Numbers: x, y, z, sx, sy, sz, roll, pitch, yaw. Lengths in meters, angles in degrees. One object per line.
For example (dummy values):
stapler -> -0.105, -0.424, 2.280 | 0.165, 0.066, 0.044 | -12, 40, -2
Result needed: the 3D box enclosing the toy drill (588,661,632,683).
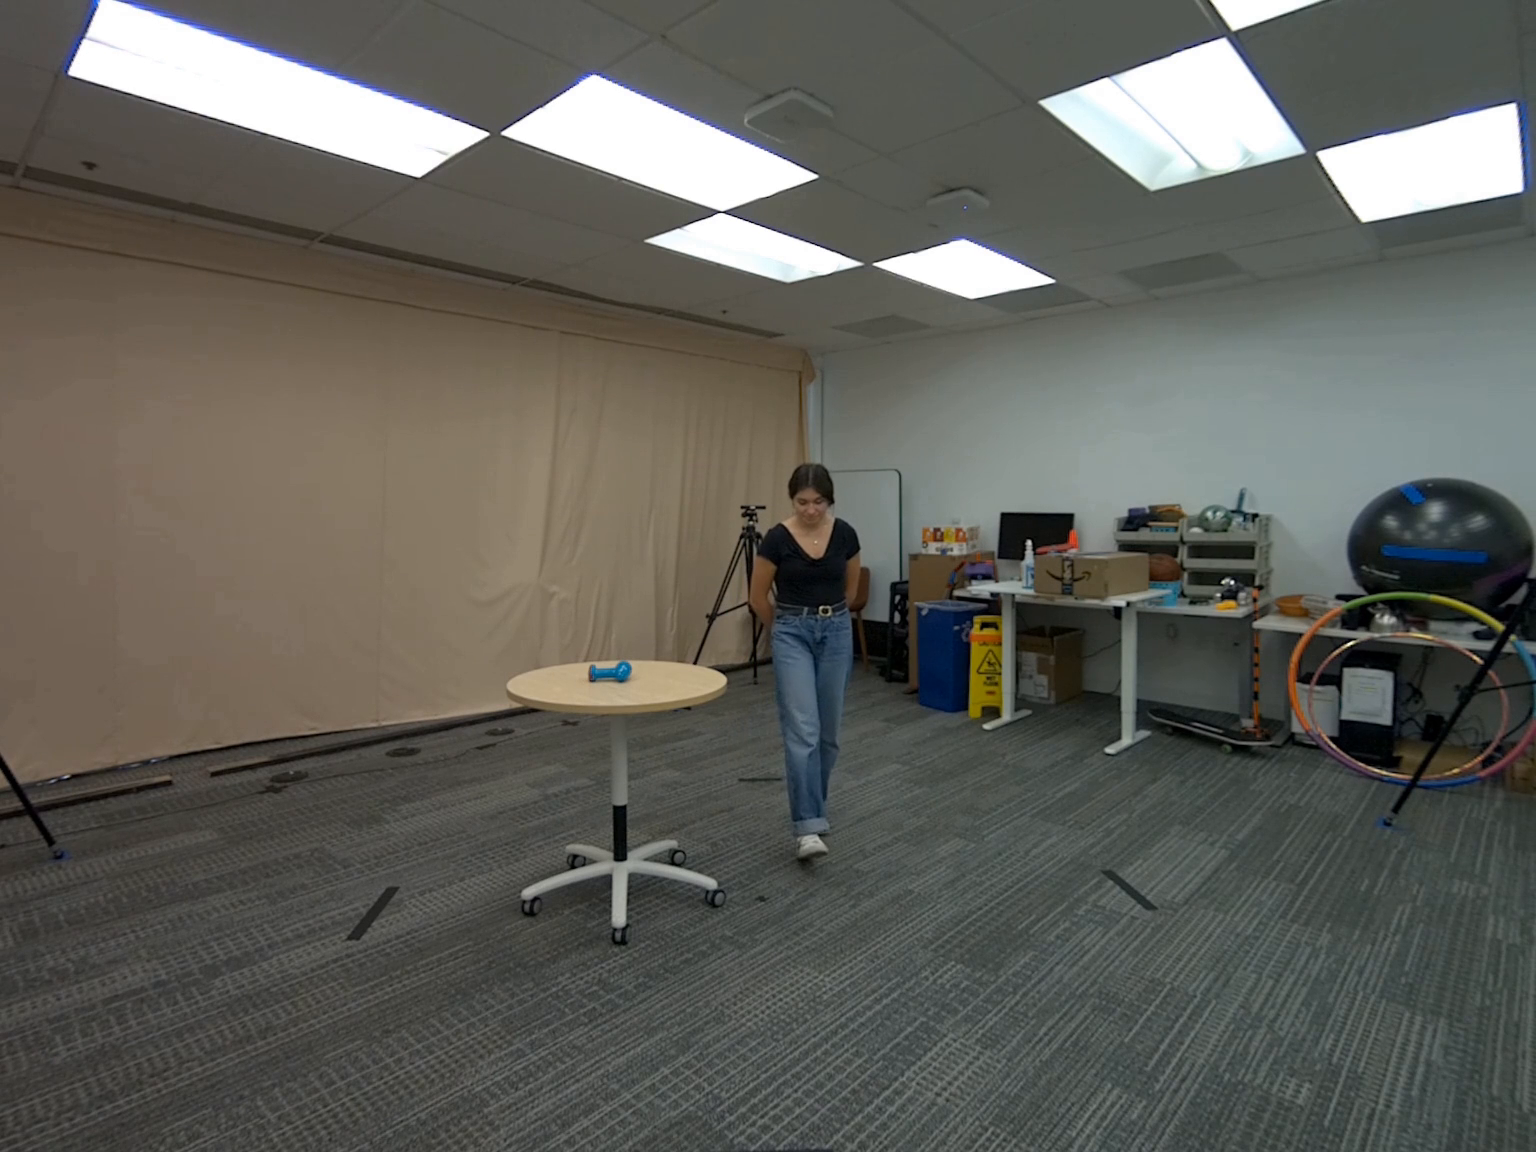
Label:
toy drill -> -0.550, 0.334, 2.989 | 0.147, 0.060, 0.170 | -1, 13, 3
